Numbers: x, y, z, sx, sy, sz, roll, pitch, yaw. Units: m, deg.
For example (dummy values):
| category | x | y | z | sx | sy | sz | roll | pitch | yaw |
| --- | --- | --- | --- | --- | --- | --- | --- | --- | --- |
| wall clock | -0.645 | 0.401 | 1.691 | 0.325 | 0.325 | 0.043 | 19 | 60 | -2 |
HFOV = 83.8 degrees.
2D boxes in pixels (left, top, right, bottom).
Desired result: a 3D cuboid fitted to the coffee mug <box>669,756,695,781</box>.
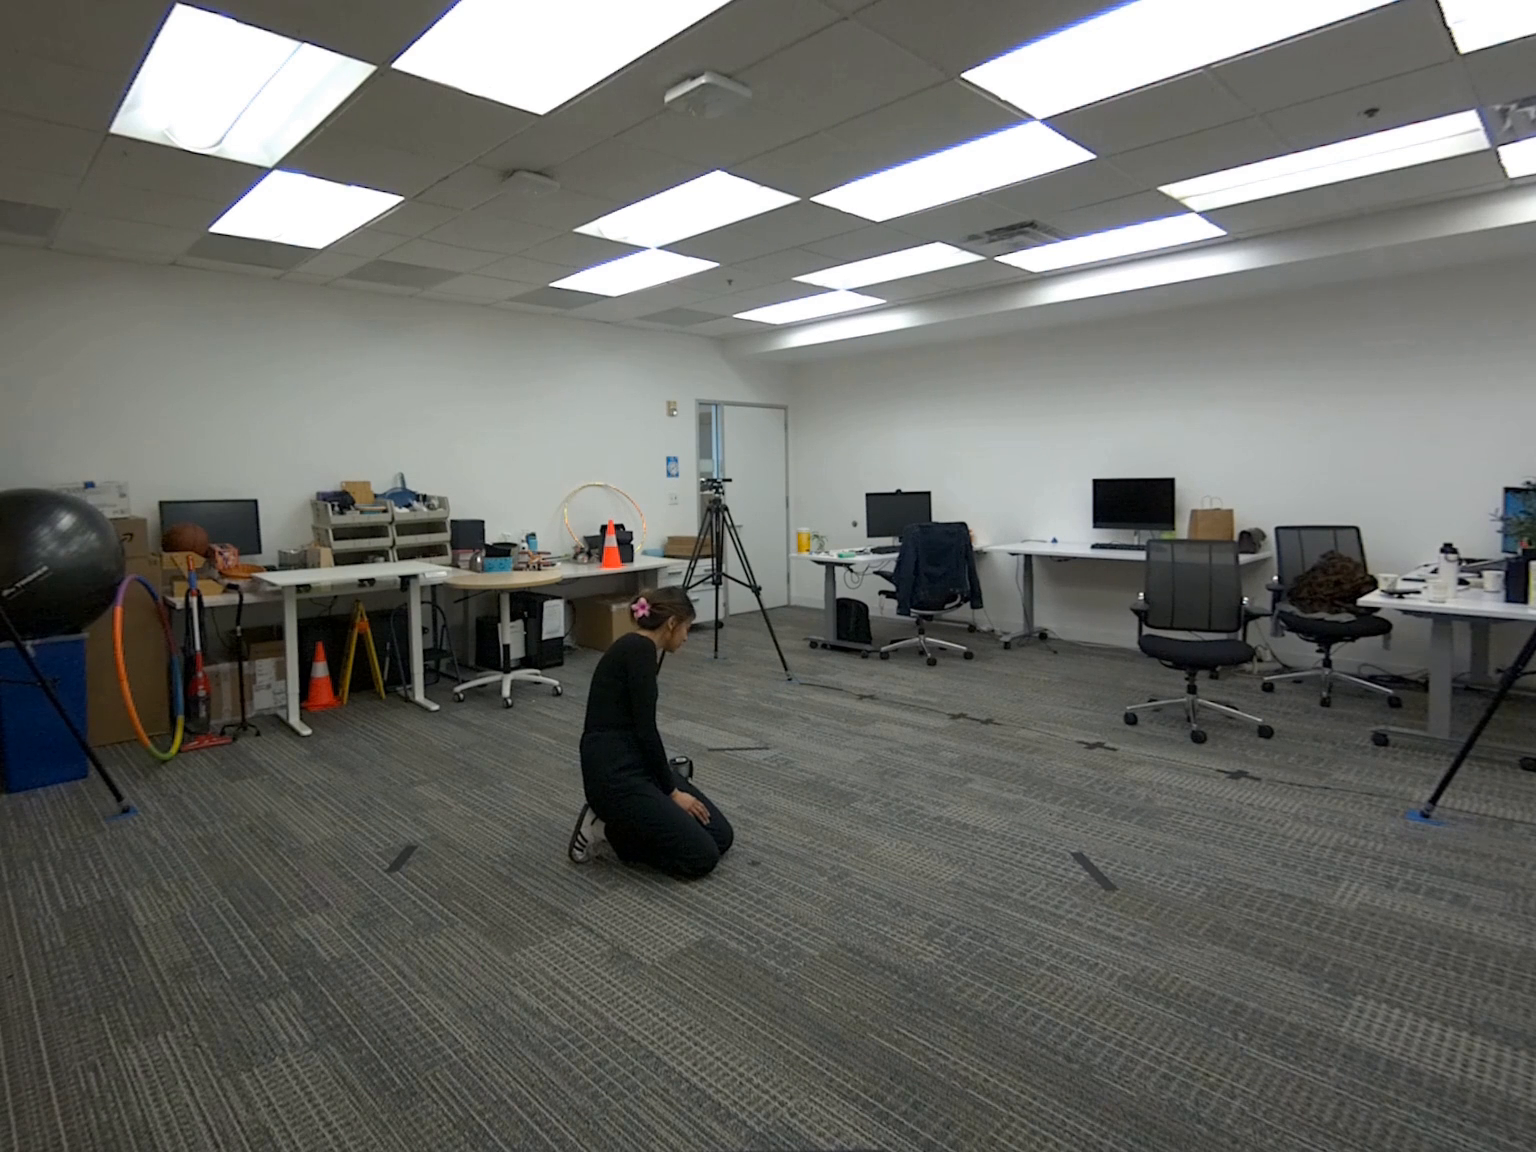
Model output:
| category | x | y | z | sx | sy | sz | roll | pitch | yaw |
| --- | --- | --- | --- | --- | --- | --- | --- | --- | --- |
| coffee mug | -0.361 | 0.888 | 3.692 | 0.119 | 0.202 | 0.090 | -12 | 6 | -30 |
